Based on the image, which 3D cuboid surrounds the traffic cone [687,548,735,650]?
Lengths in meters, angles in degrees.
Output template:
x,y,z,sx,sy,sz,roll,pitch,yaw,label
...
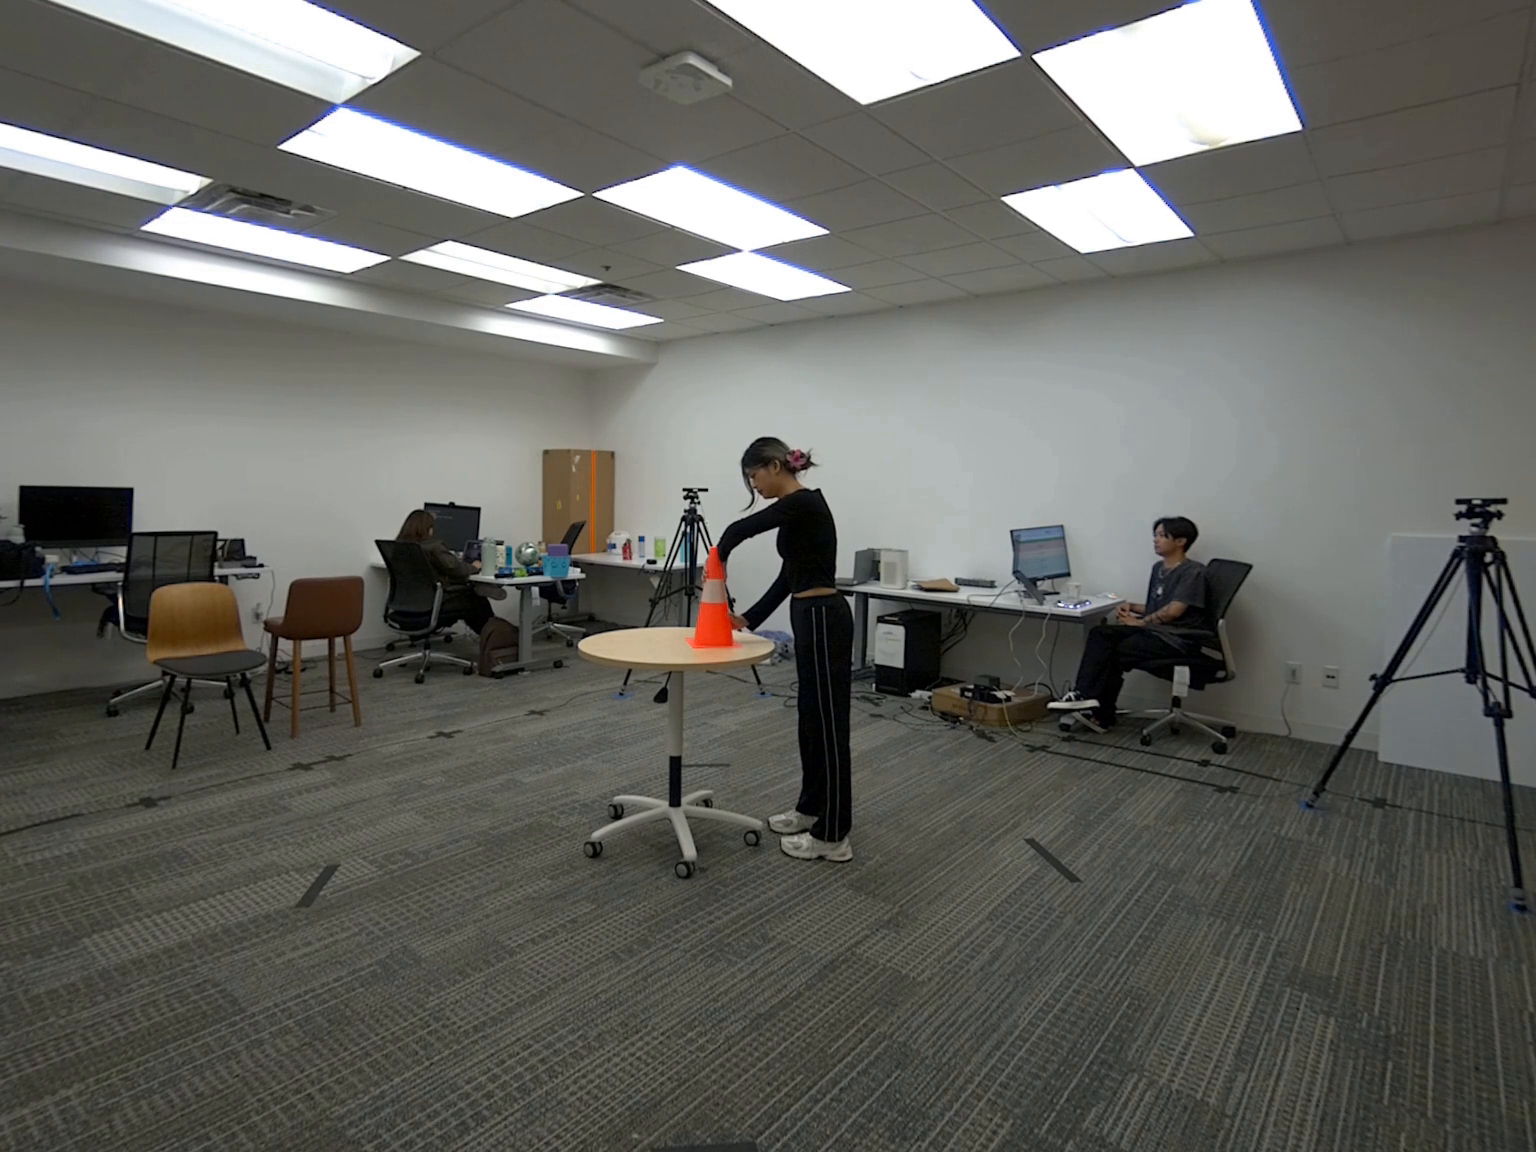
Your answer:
x,y,z,sx,sy,sz,roll,pitch,yaw,label
-0.220,0.073,3.342,0.200,0.382,0.209,1,4,-16,traffic cone
